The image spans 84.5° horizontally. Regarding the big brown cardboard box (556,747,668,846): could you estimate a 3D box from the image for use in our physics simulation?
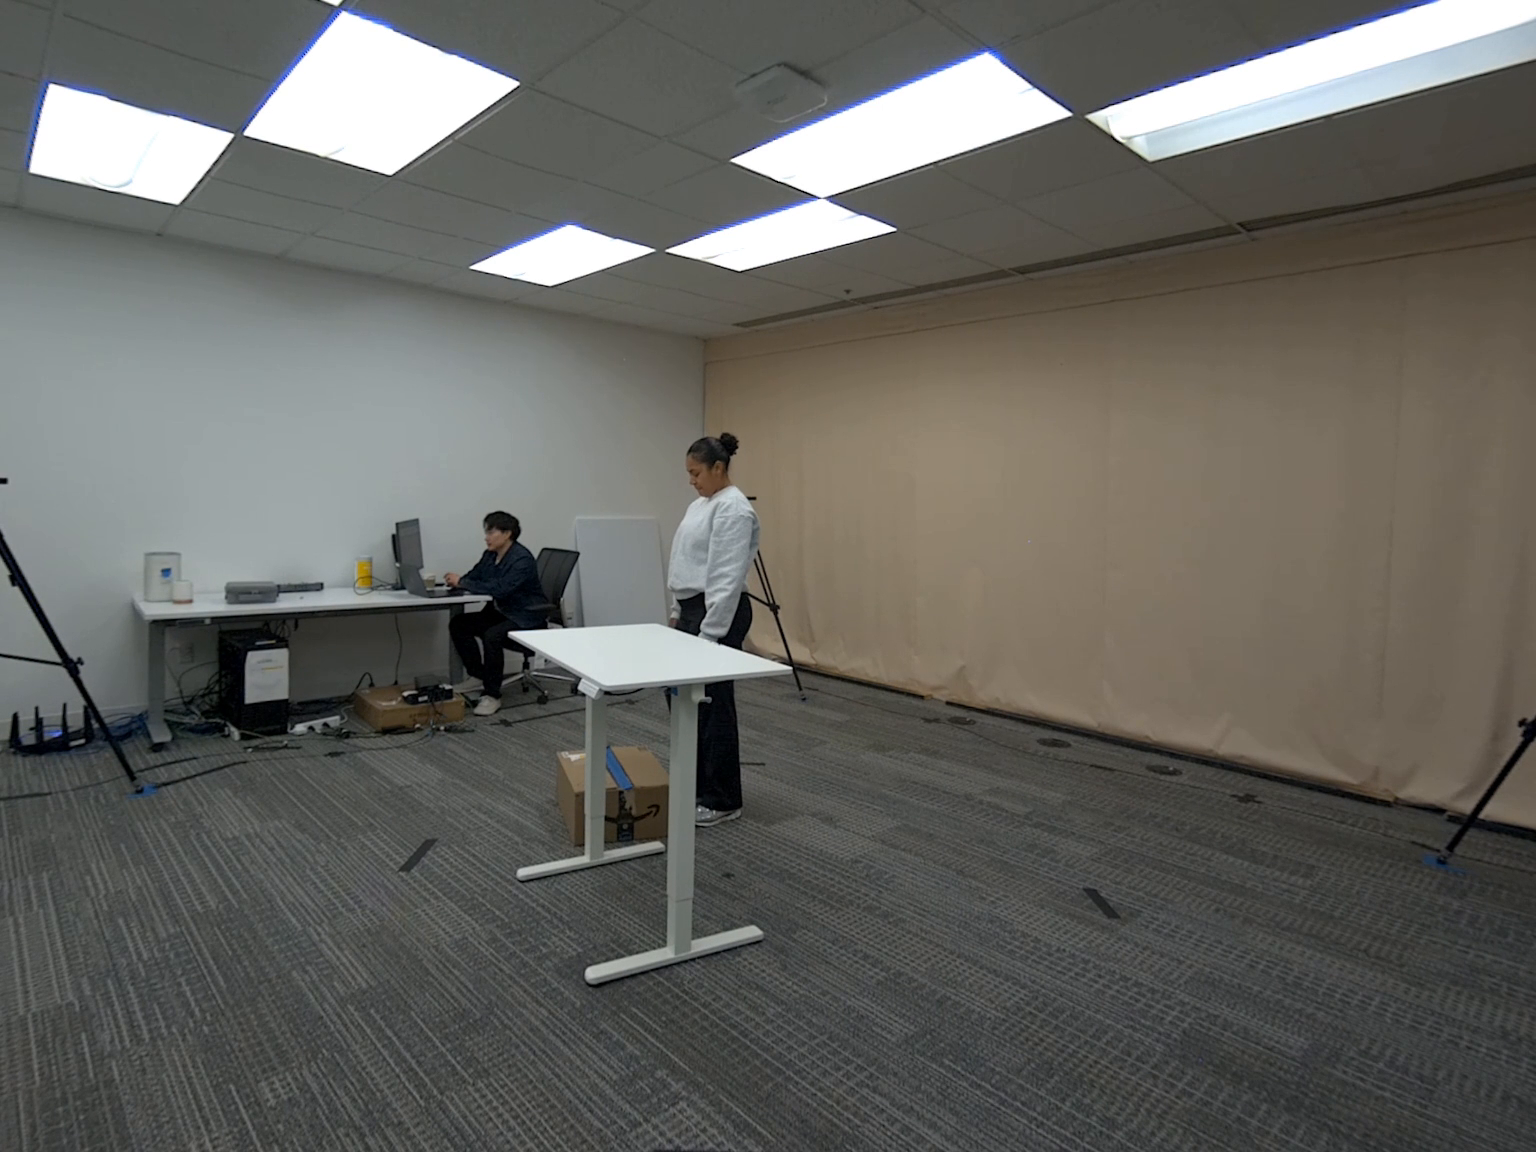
[{"bbox_3d":[-0.682,0.935,3.653,0.411,0.232,0.600,0,6,-21],"label":"big brown cardboard box"}]
